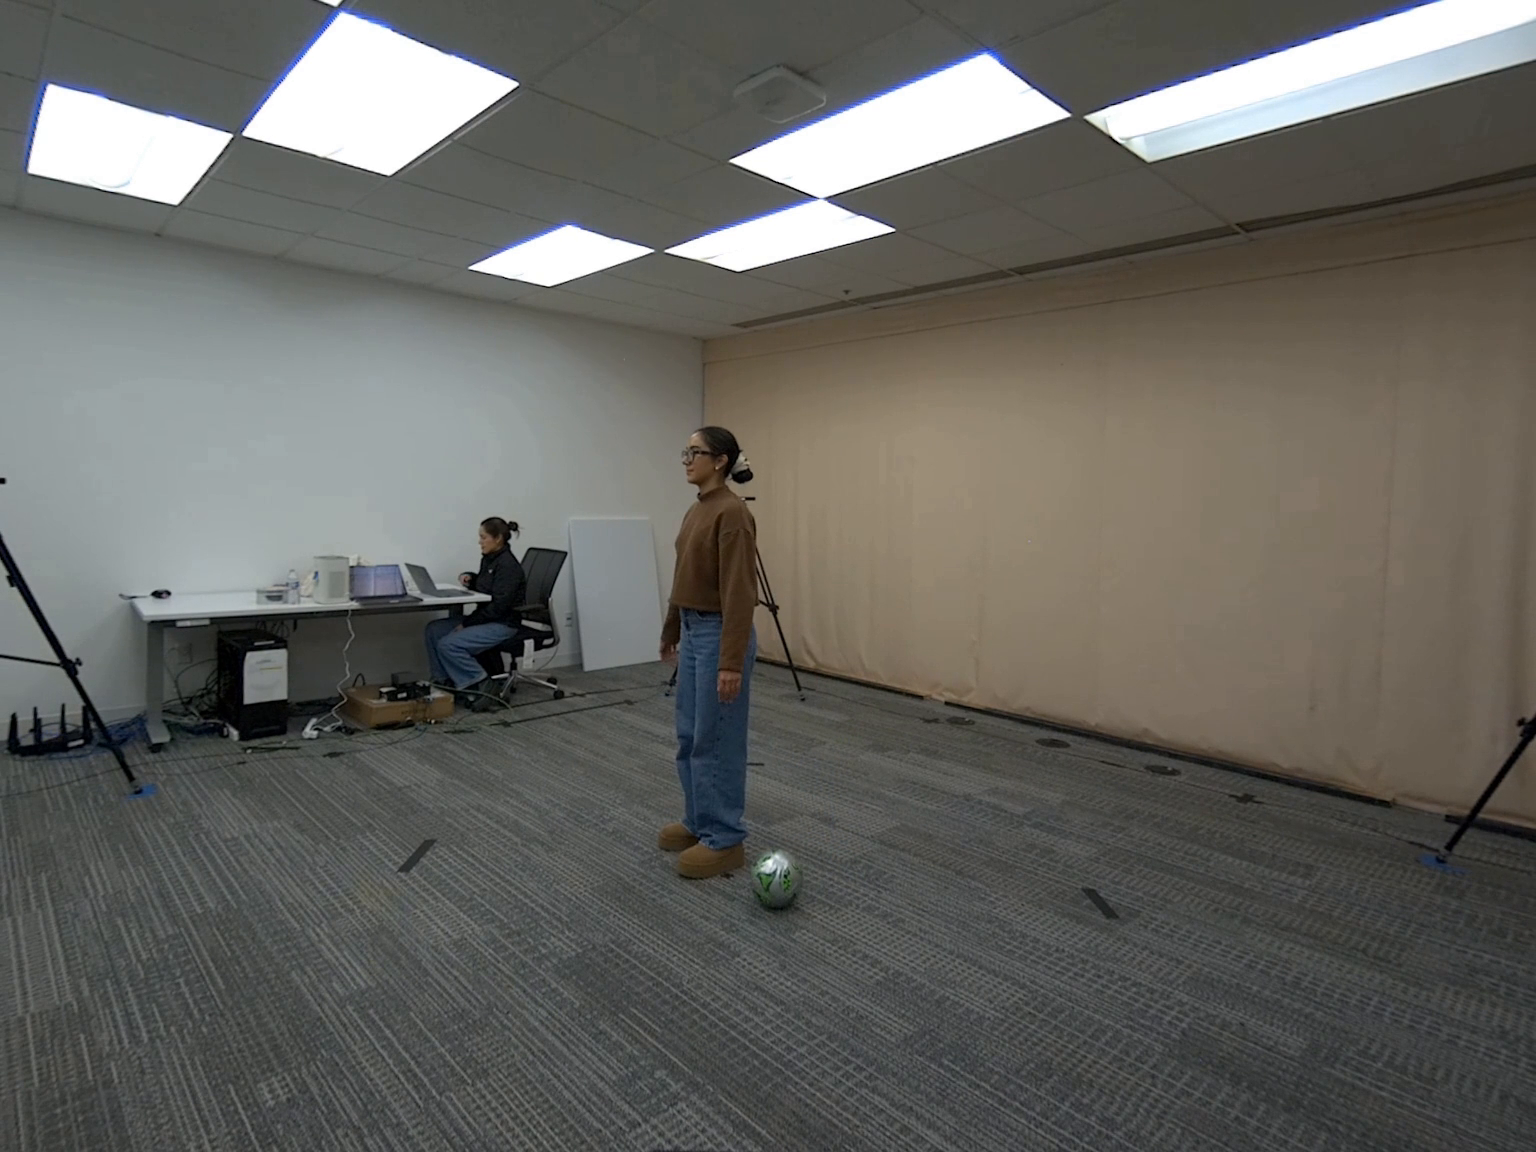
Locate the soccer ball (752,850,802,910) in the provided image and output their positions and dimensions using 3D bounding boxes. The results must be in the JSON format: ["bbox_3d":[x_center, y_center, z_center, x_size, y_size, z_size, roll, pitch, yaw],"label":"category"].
[{"bbox_3d":[0.022,1.032,2.883,0.187,0.187,0.188,1,4,-1],"label":"soccer ball"}]
